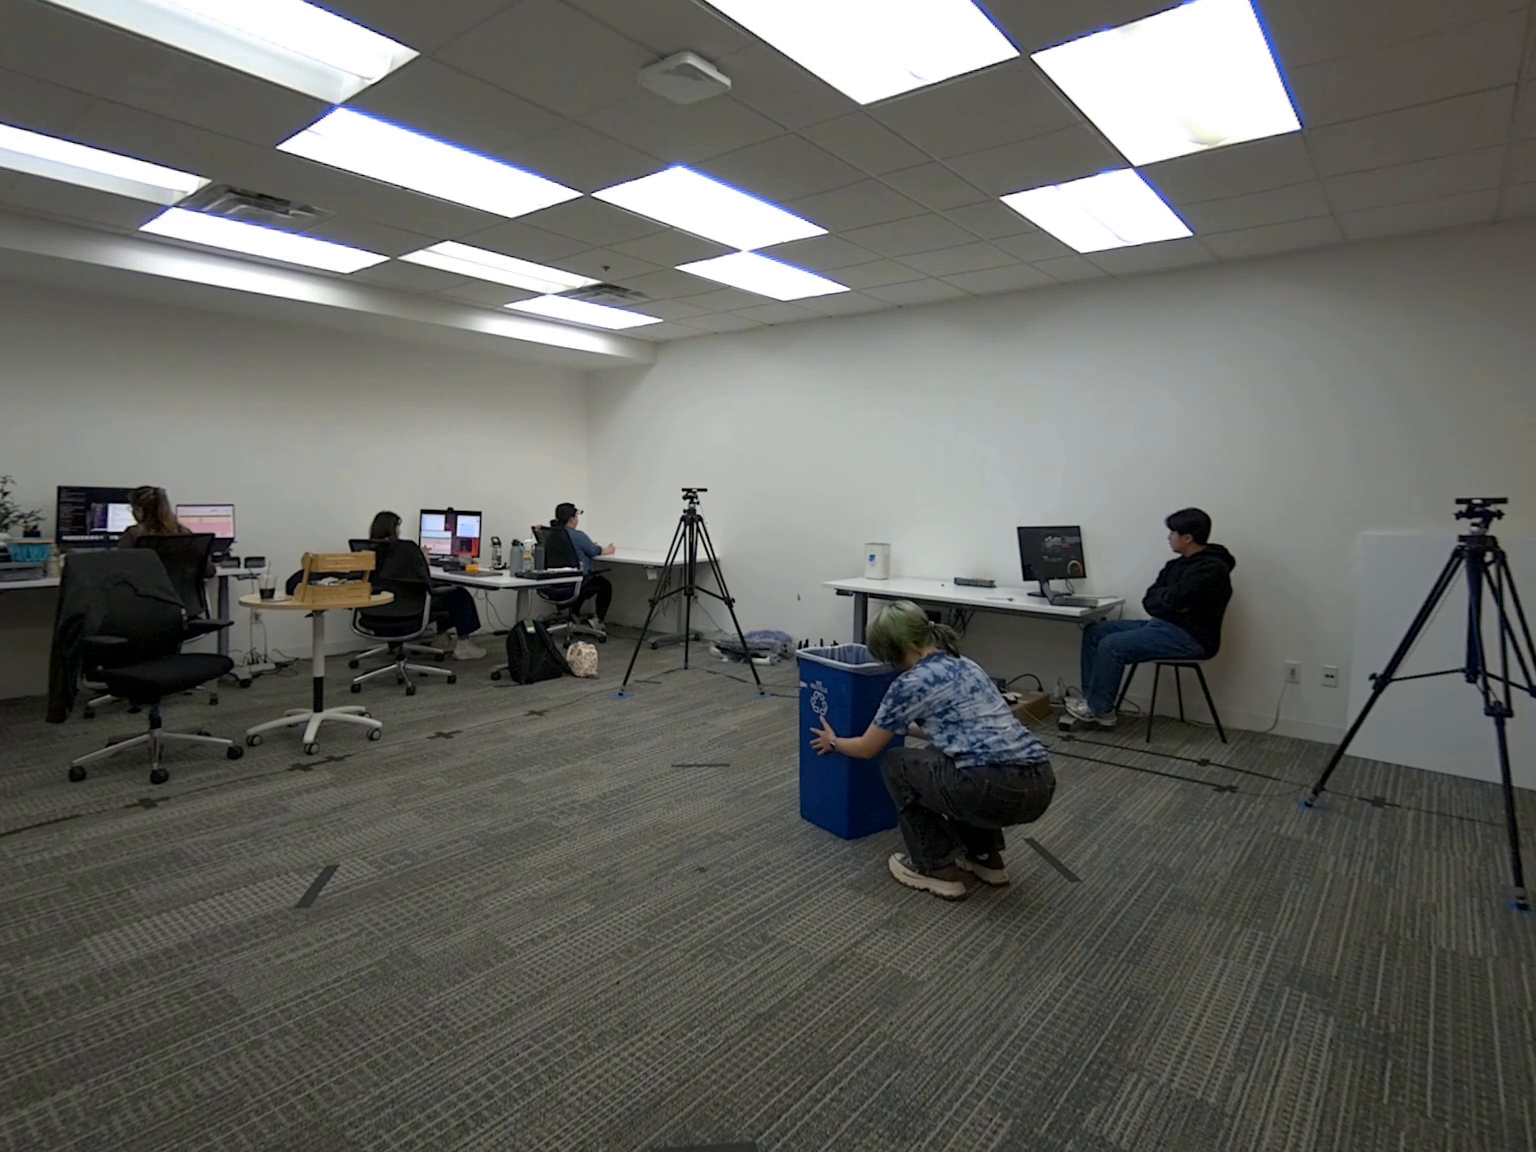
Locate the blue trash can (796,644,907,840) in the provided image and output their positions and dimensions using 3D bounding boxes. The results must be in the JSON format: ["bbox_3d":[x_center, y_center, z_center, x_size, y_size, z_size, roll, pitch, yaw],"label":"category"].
[{"bbox_3d":[0.350,0.679,3.574,0.367,0.711,0.386,-1,4,-37],"label":"blue trash can"}]
